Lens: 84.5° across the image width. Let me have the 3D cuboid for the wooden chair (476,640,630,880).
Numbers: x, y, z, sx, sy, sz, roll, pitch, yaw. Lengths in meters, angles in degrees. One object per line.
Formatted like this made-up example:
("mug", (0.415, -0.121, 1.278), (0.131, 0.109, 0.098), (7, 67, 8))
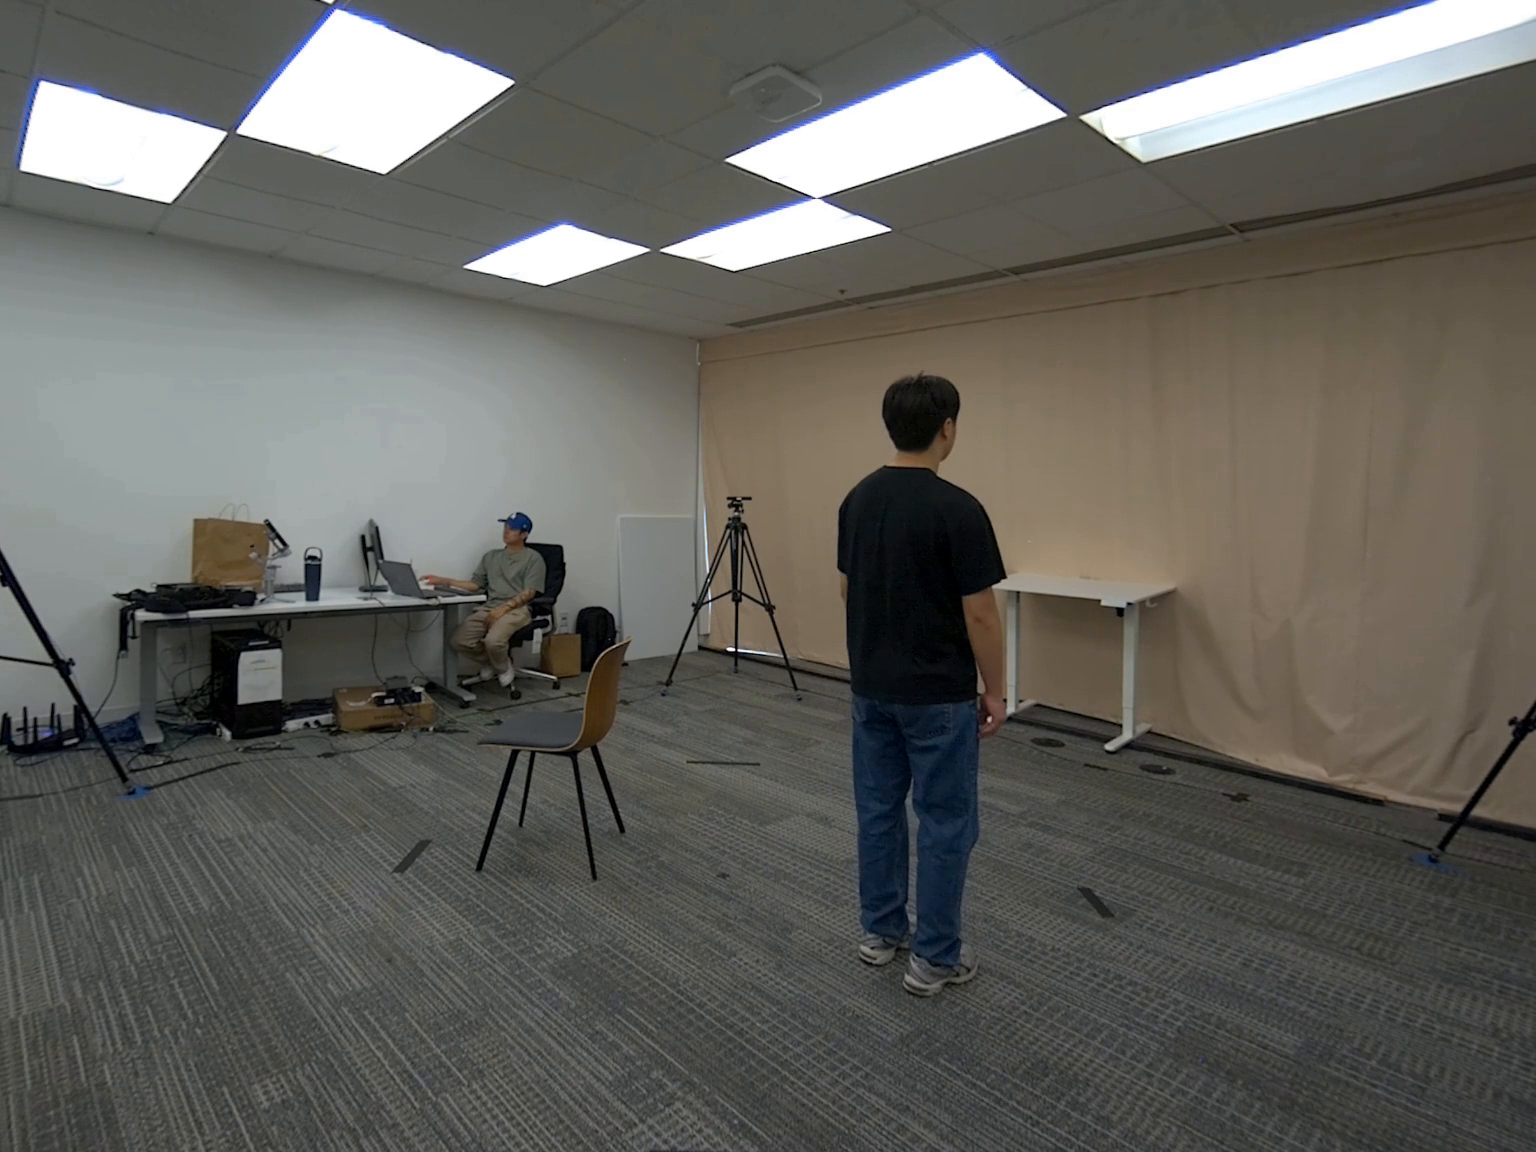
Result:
("wooden chair", (-0.831, 0.650, 3.248), (0.525, 0.875, 0.477), (6, 4, 4))
